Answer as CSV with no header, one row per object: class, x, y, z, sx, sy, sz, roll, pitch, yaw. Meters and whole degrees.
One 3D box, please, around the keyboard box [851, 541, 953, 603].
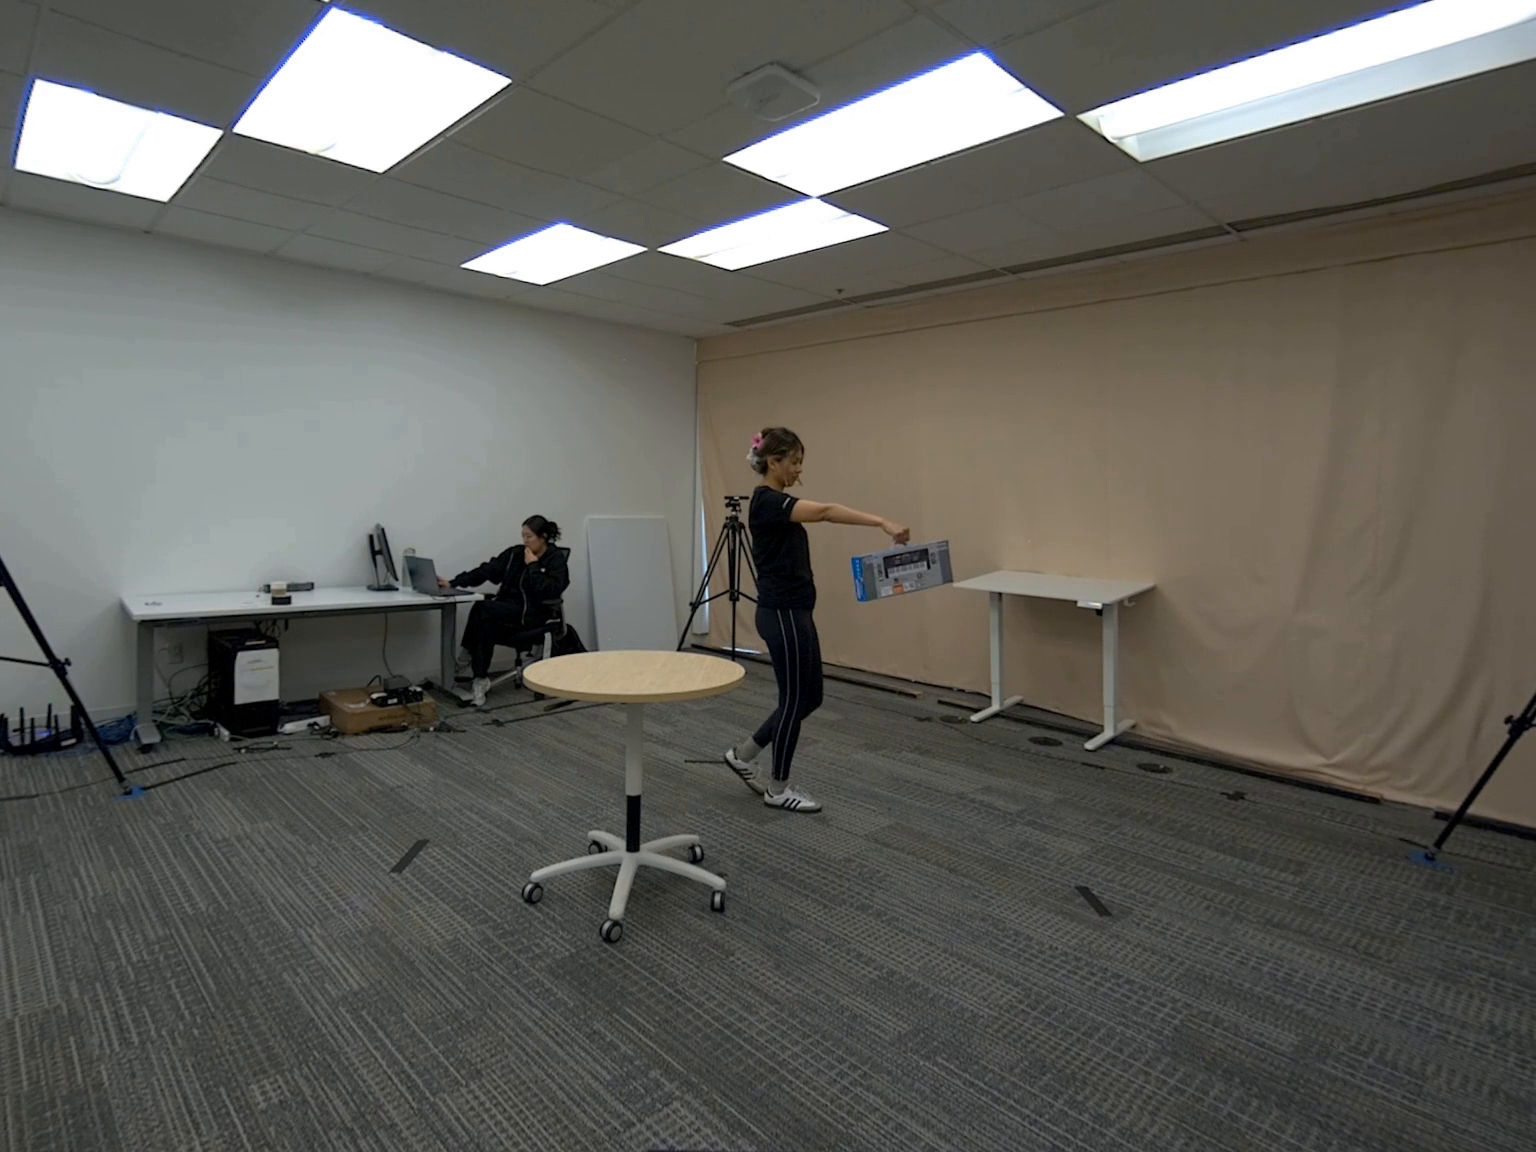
keyboard box,0.518,-0.021,3.291,0.430,0.175,0.060,-11,5,-28
